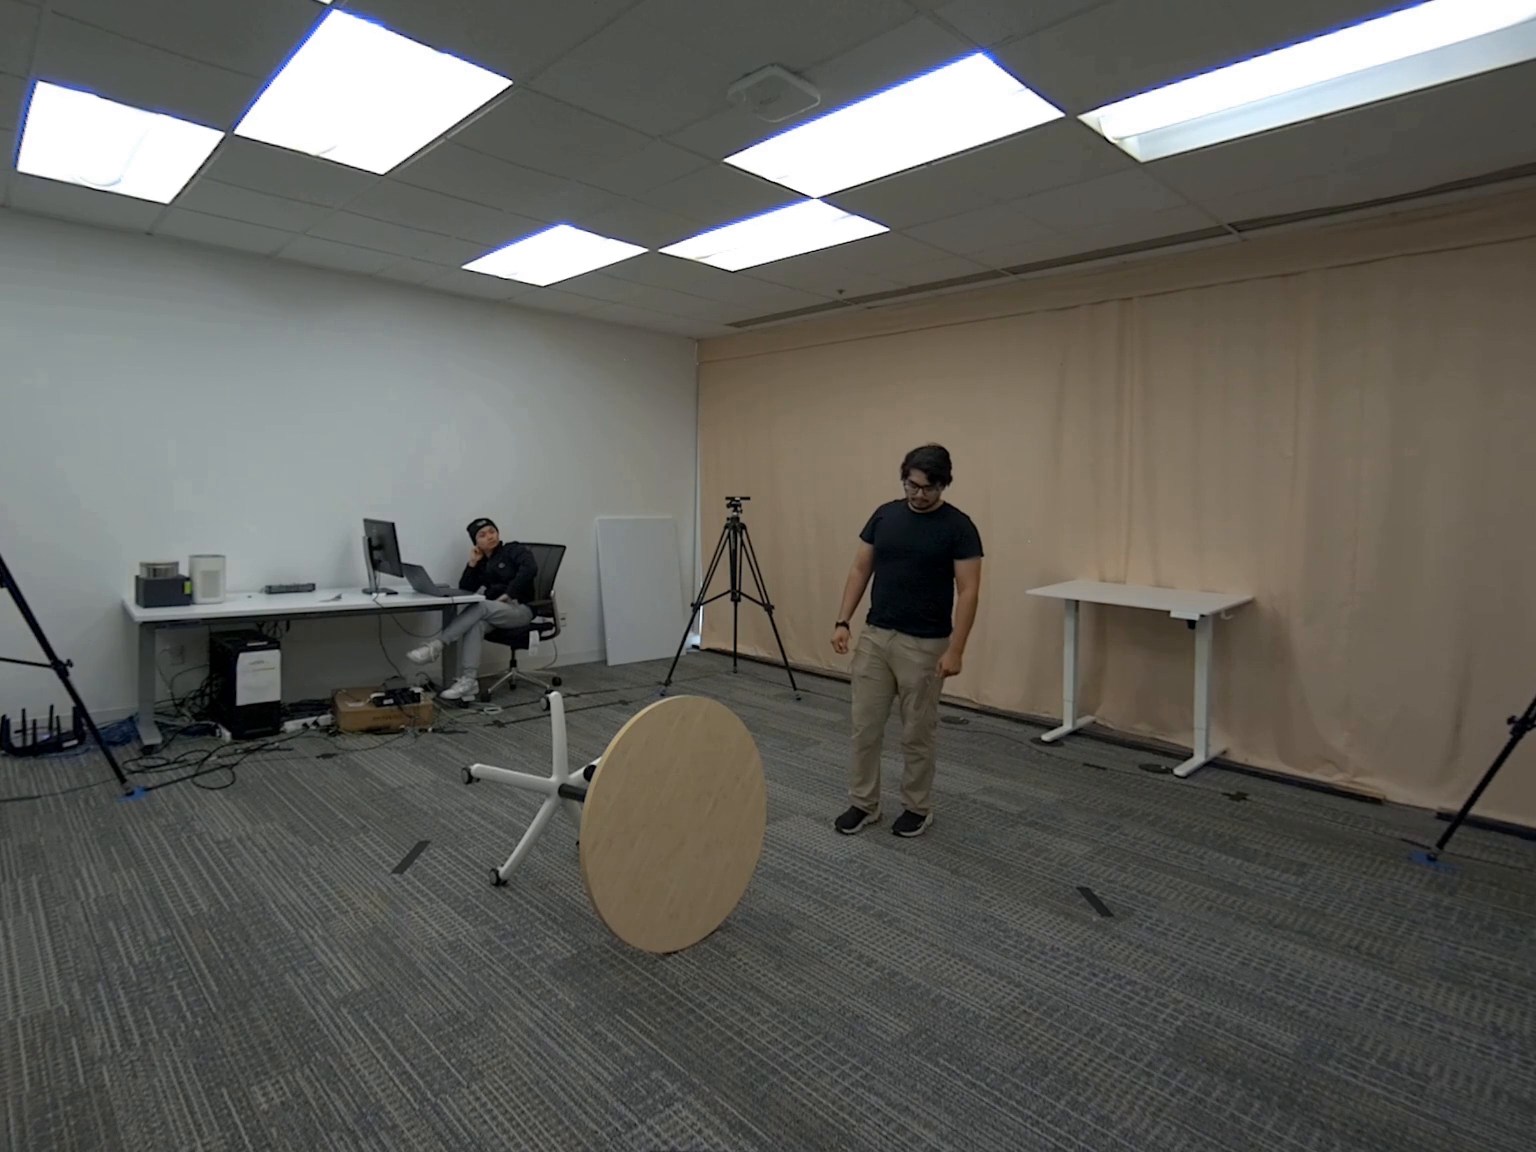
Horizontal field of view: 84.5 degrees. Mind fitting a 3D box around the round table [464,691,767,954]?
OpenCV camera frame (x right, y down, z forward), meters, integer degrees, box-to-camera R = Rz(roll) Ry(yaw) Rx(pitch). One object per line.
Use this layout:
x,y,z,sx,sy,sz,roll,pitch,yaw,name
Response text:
-0.558,0.785,2.903,0.803,0.786,0.767,-5,-1,44,round table
